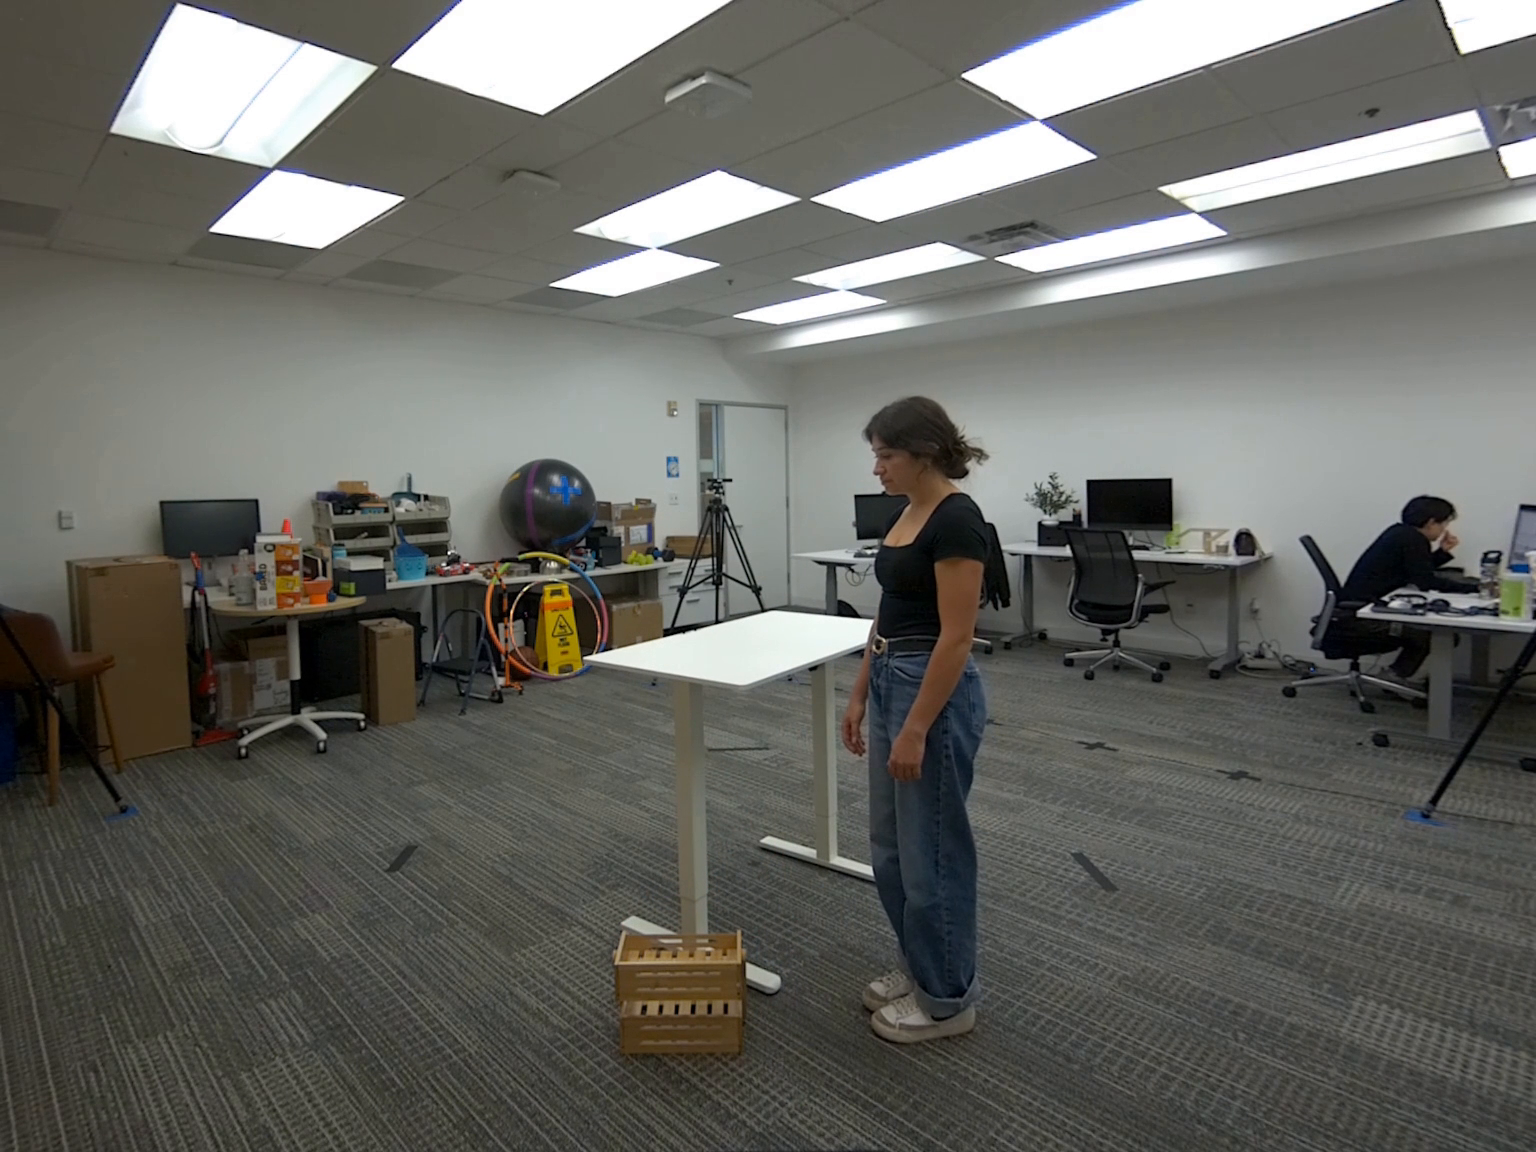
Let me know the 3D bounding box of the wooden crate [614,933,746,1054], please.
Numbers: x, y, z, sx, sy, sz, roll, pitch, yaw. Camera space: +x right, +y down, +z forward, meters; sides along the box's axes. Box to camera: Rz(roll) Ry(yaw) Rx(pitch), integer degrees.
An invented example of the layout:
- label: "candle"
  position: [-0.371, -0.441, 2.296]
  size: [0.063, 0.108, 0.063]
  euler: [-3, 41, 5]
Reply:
- label: "wooden crate"
  position: [-0.205, 1.016, 2.193]
  size: [0.324, 0.272, 0.303]
  euler: [-1, 6, -1]
